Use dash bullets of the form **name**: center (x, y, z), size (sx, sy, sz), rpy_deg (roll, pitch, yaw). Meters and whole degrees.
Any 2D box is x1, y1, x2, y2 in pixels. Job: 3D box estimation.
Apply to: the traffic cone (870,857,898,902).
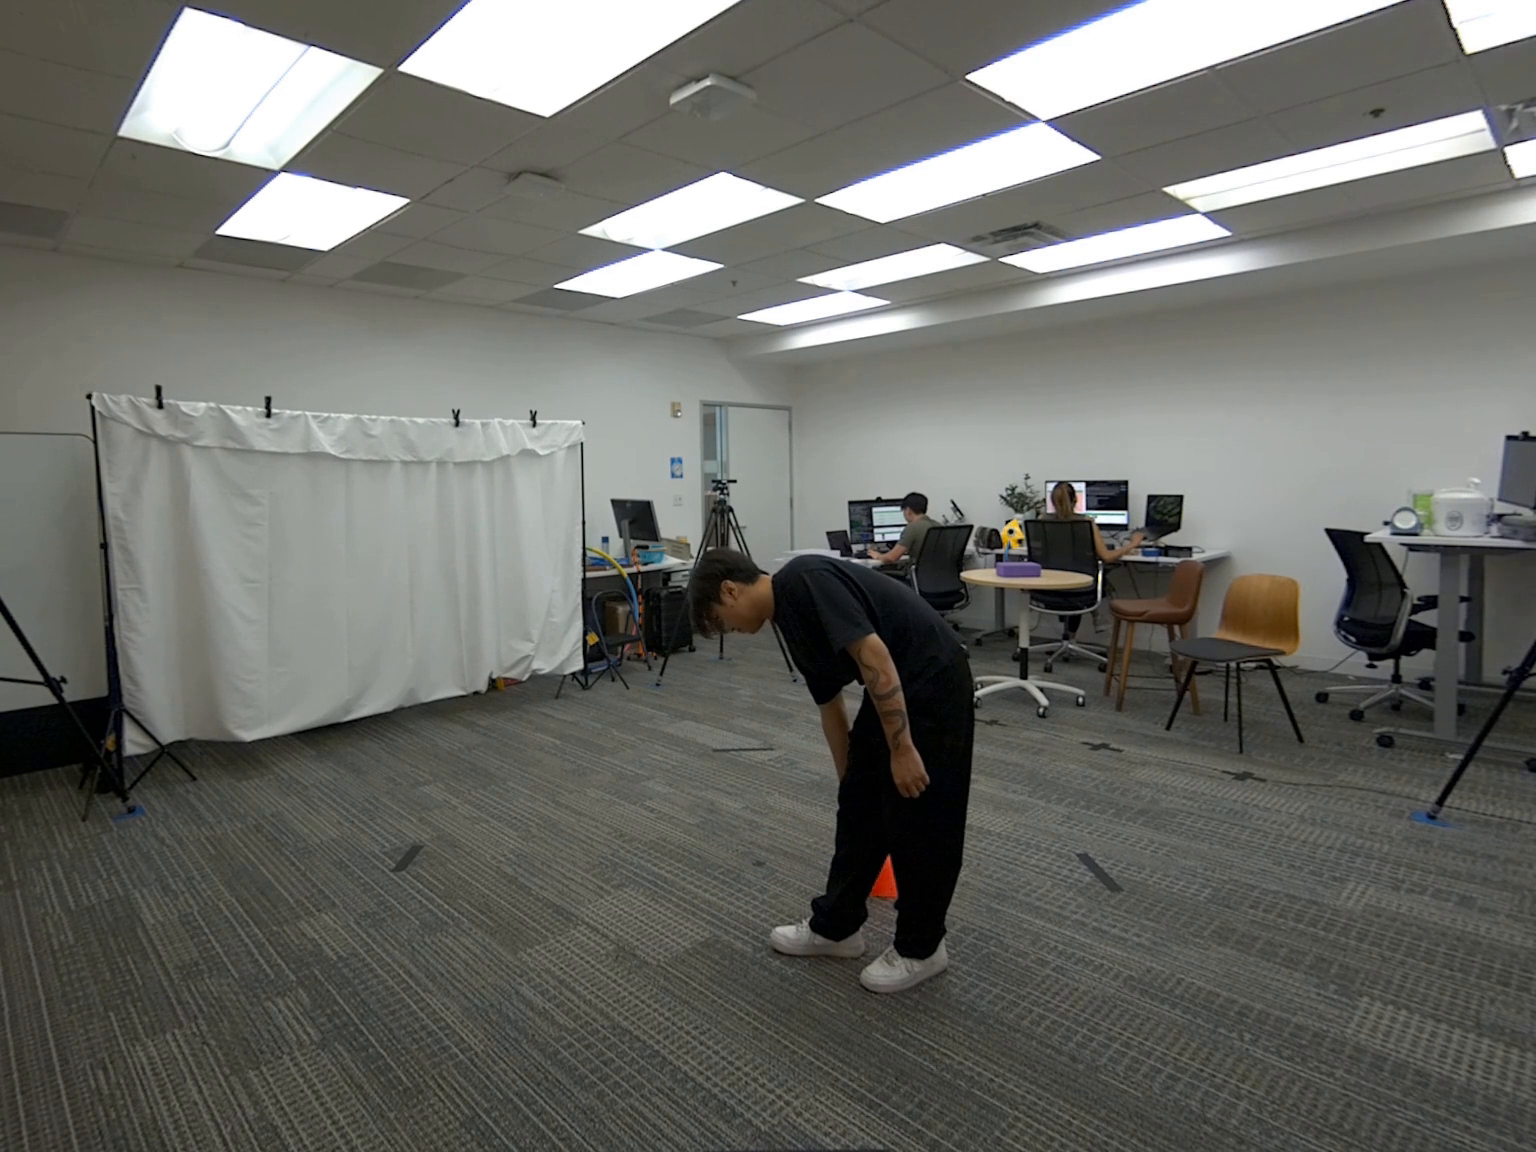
- **traffic cone**: center (0.325, 0.875, 2.791), size (0.207, 0.371, 0.208), rpy_deg (5, 49, 18)
